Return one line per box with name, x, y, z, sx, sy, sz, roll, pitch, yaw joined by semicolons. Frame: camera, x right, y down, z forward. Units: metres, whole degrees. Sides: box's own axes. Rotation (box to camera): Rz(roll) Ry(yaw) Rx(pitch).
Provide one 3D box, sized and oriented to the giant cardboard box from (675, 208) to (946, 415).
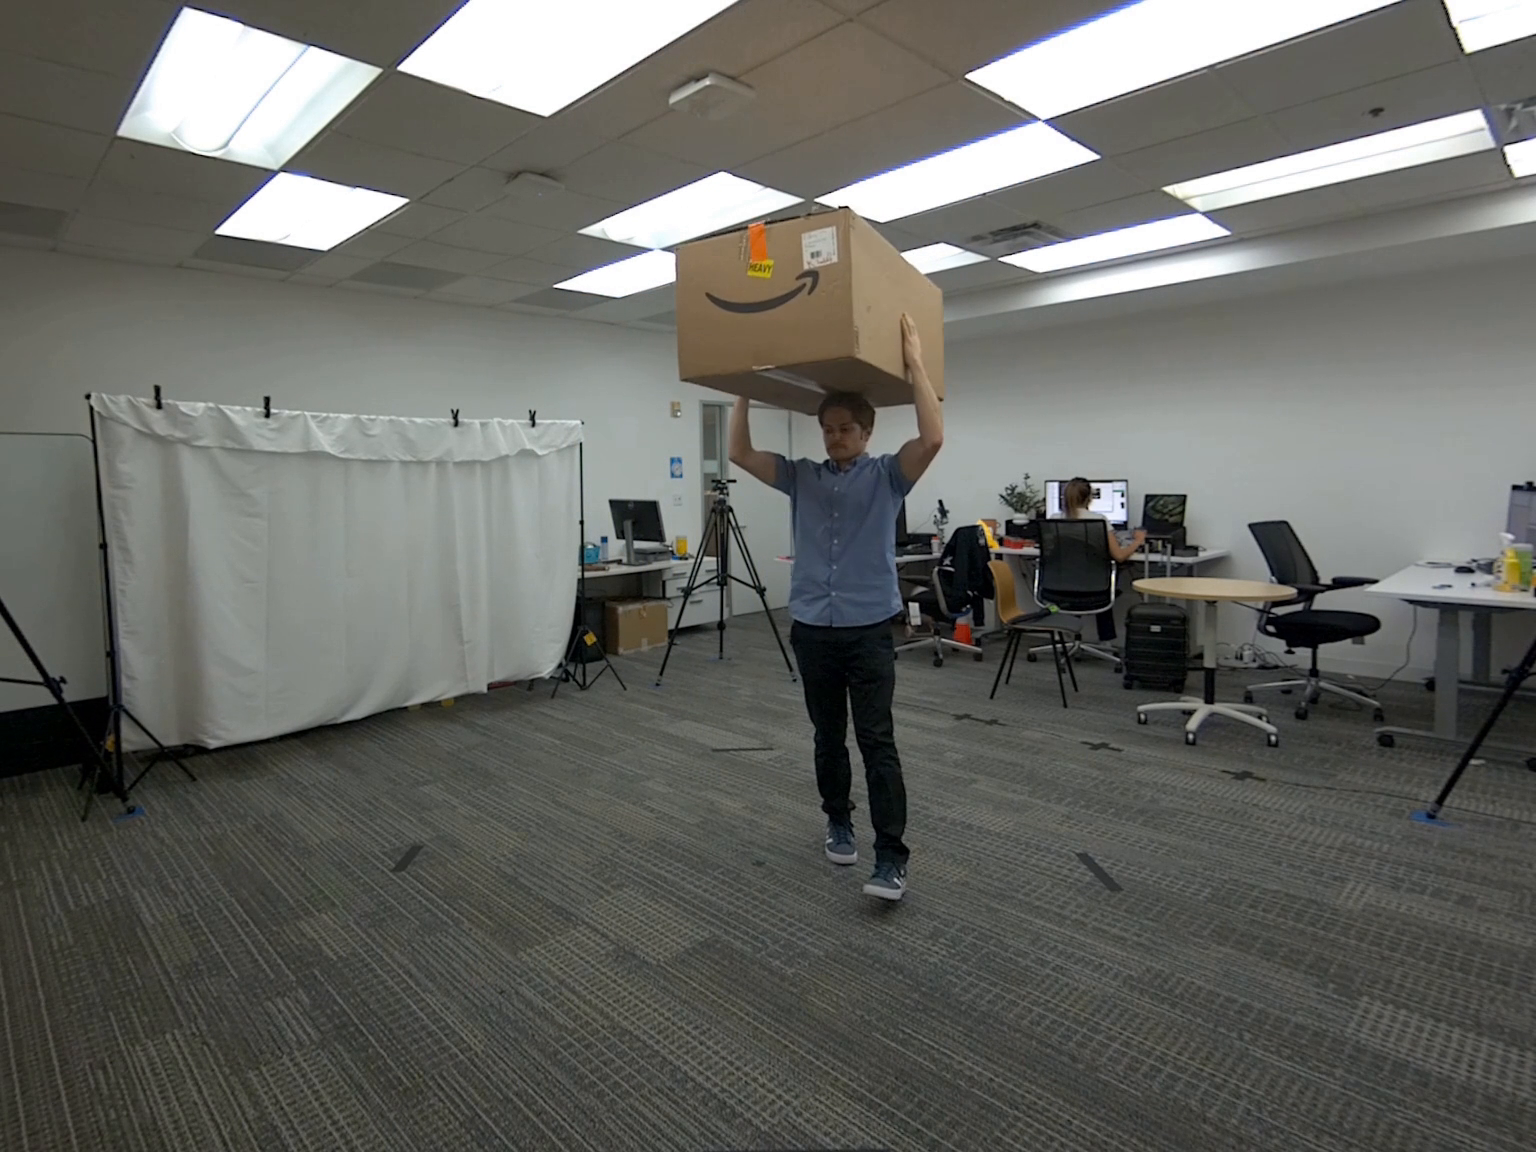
giant cardboard box;0.192;-0.848;2.946;0.591;0.425;1.004;-1;3;26
